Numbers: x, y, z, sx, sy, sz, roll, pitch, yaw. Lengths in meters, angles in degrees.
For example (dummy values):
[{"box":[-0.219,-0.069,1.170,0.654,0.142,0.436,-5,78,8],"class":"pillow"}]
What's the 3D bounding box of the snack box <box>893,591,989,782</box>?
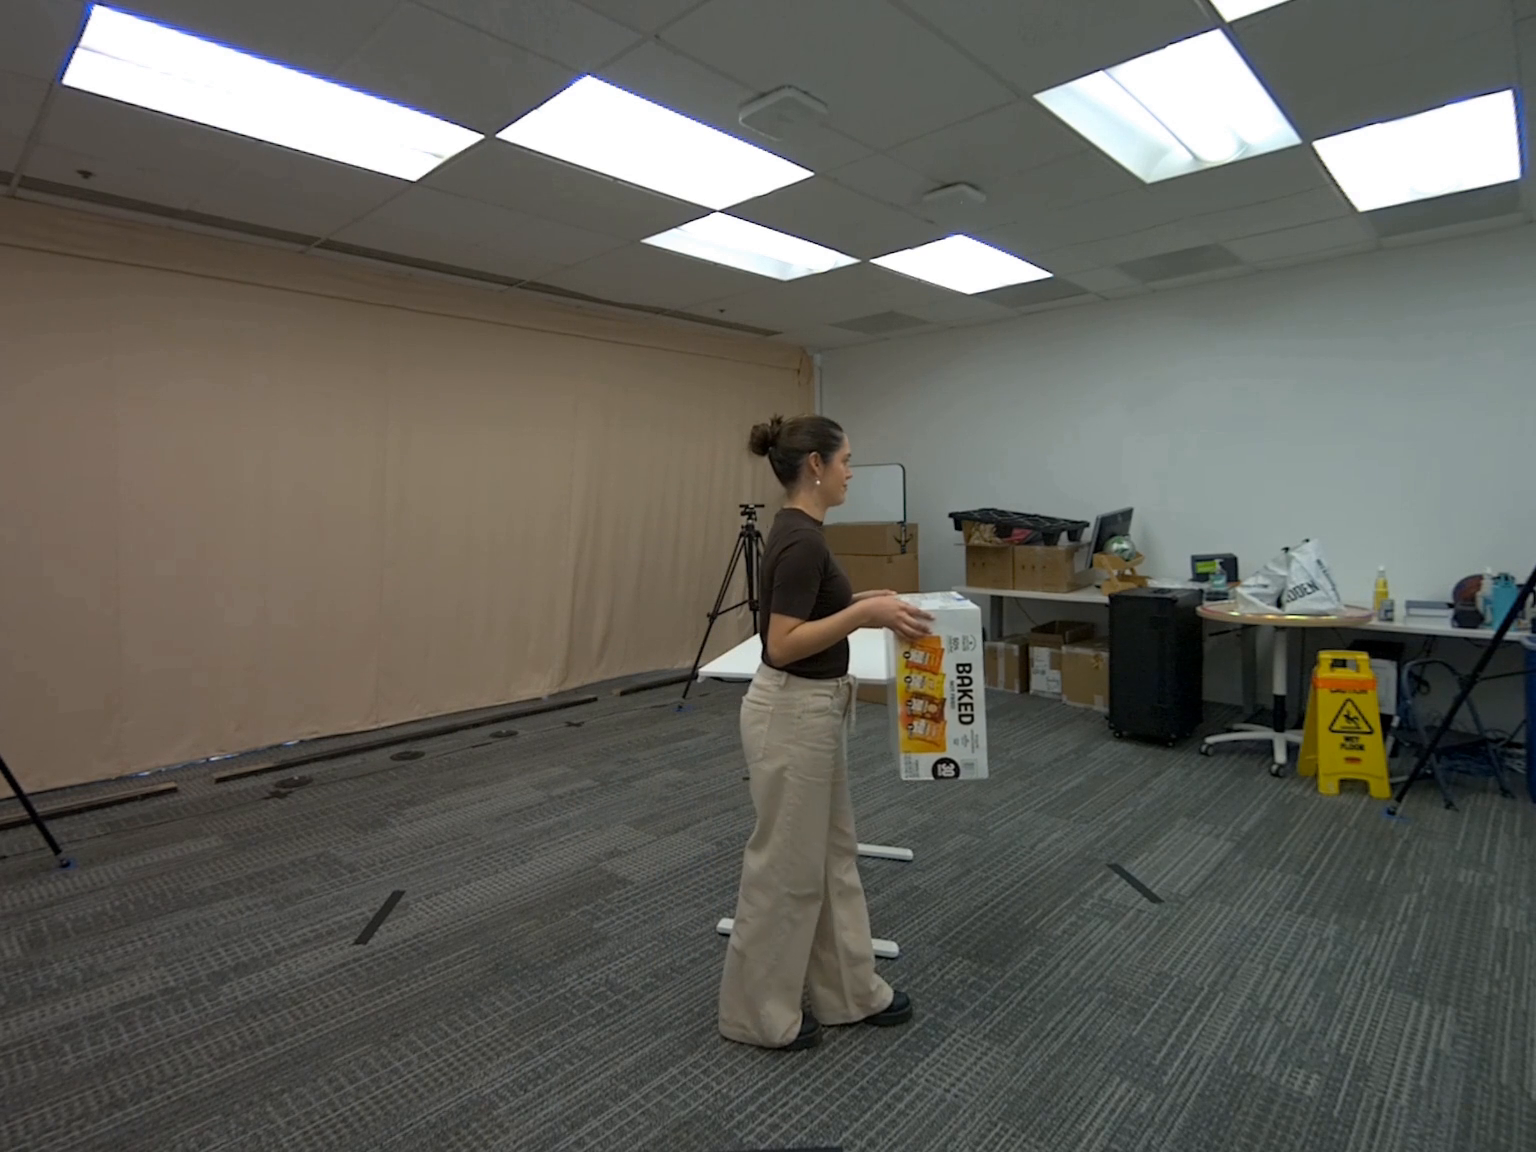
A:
[{"box":[0.420,0.263,2.116,0.207,0.404,0.339,-3,3,4],"class":"snack box"}]
